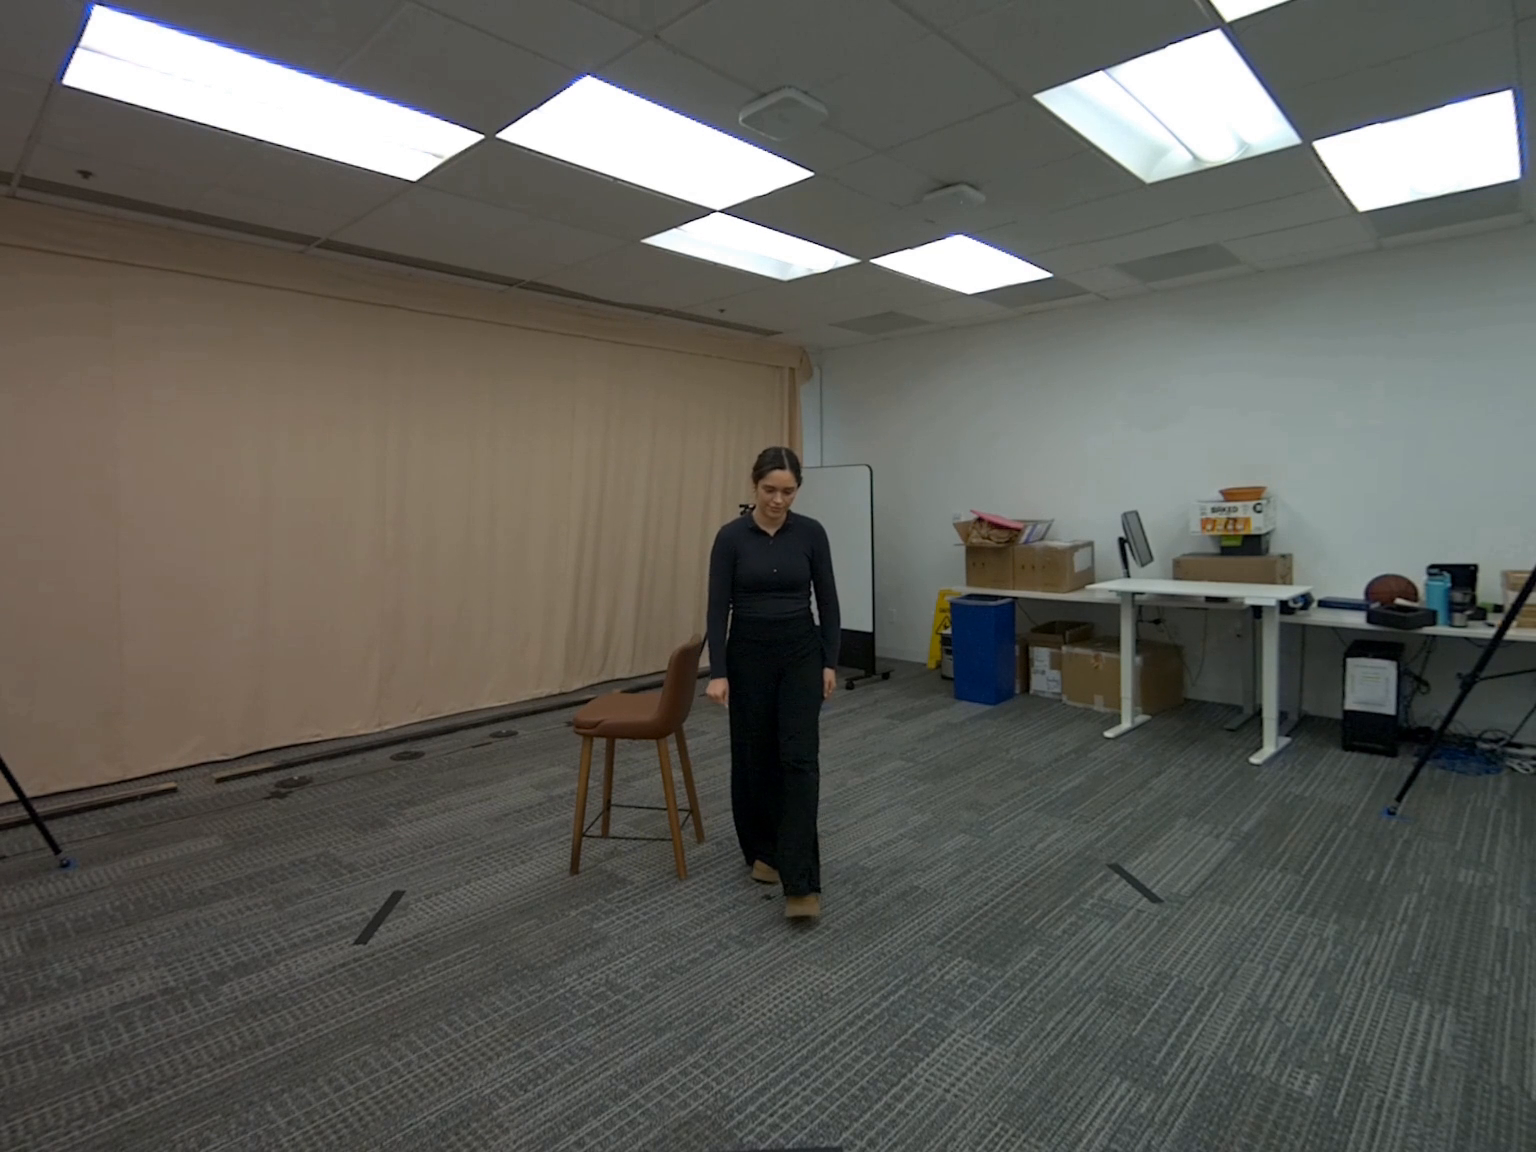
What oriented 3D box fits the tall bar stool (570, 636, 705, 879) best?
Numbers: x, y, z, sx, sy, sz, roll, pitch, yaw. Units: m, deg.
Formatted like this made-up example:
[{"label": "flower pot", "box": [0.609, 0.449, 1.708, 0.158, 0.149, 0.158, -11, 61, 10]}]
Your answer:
[{"label": "tall bar stool", "box": [-0.509, 0.685, 3.338, 0.473, 0.888, 0.452, 1, 4, 9]}]
